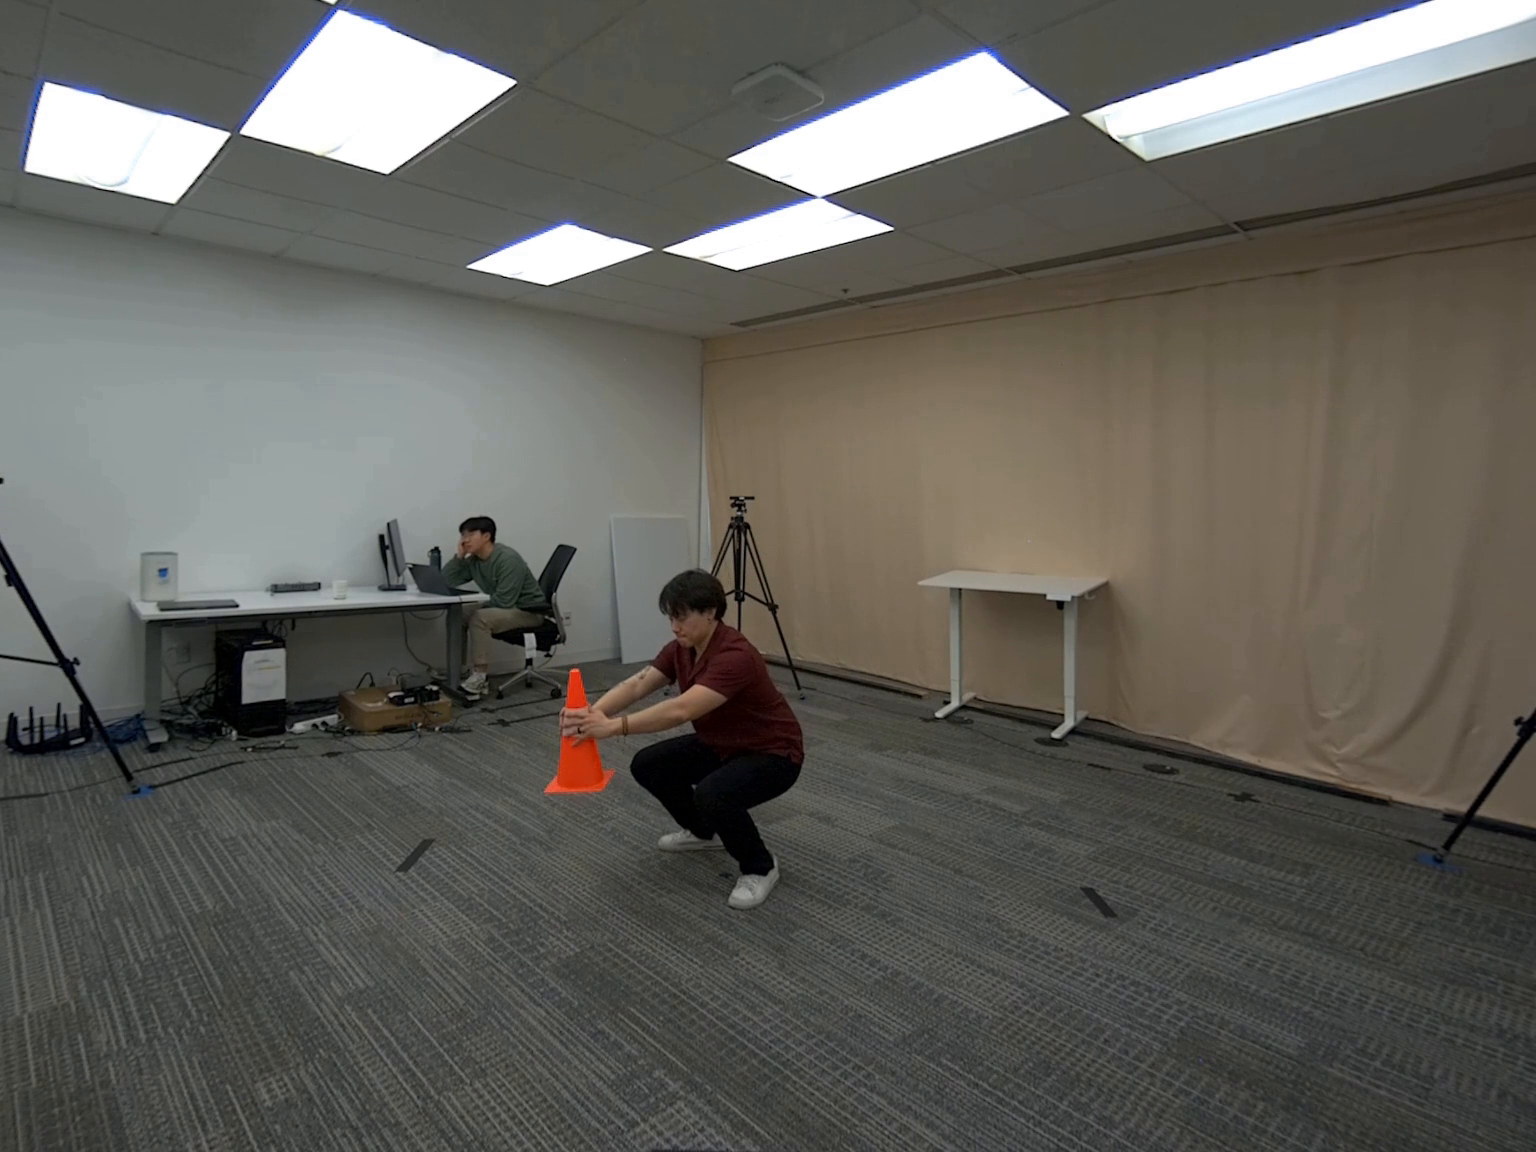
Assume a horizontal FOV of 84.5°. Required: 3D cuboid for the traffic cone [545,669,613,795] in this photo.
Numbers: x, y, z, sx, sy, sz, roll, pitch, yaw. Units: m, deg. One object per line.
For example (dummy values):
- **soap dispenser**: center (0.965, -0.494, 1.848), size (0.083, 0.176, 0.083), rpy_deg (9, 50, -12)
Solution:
- **traffic cone**: center (-0.647, 0.498, 2.823), size (0.206, 0.383, 0.203), rpy_deg (-2, 3, 7)
